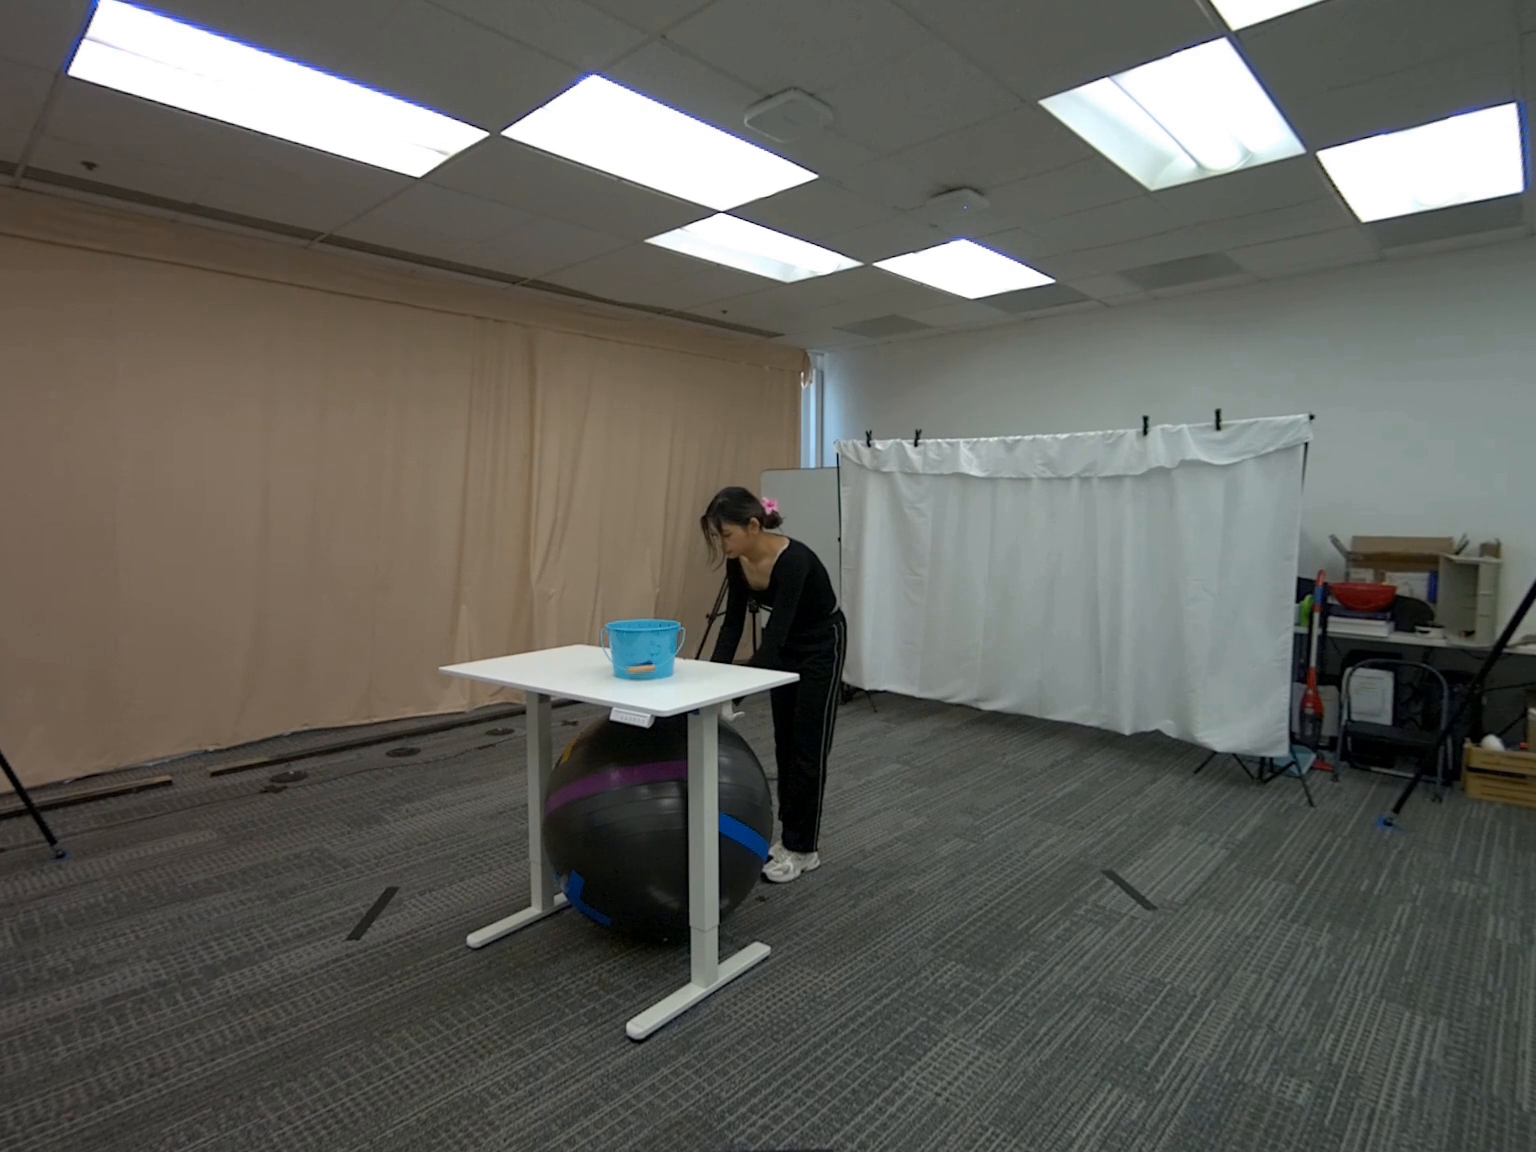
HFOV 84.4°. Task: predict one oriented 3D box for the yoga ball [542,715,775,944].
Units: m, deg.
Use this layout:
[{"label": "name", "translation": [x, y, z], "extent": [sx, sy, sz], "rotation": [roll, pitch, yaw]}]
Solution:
[{"label": "yoga ball", "translation": [-0.369, 0.797, 2.785], "extent": [0.757, 0.756, 0.761], "rotation": [0, 4, -2]}]
